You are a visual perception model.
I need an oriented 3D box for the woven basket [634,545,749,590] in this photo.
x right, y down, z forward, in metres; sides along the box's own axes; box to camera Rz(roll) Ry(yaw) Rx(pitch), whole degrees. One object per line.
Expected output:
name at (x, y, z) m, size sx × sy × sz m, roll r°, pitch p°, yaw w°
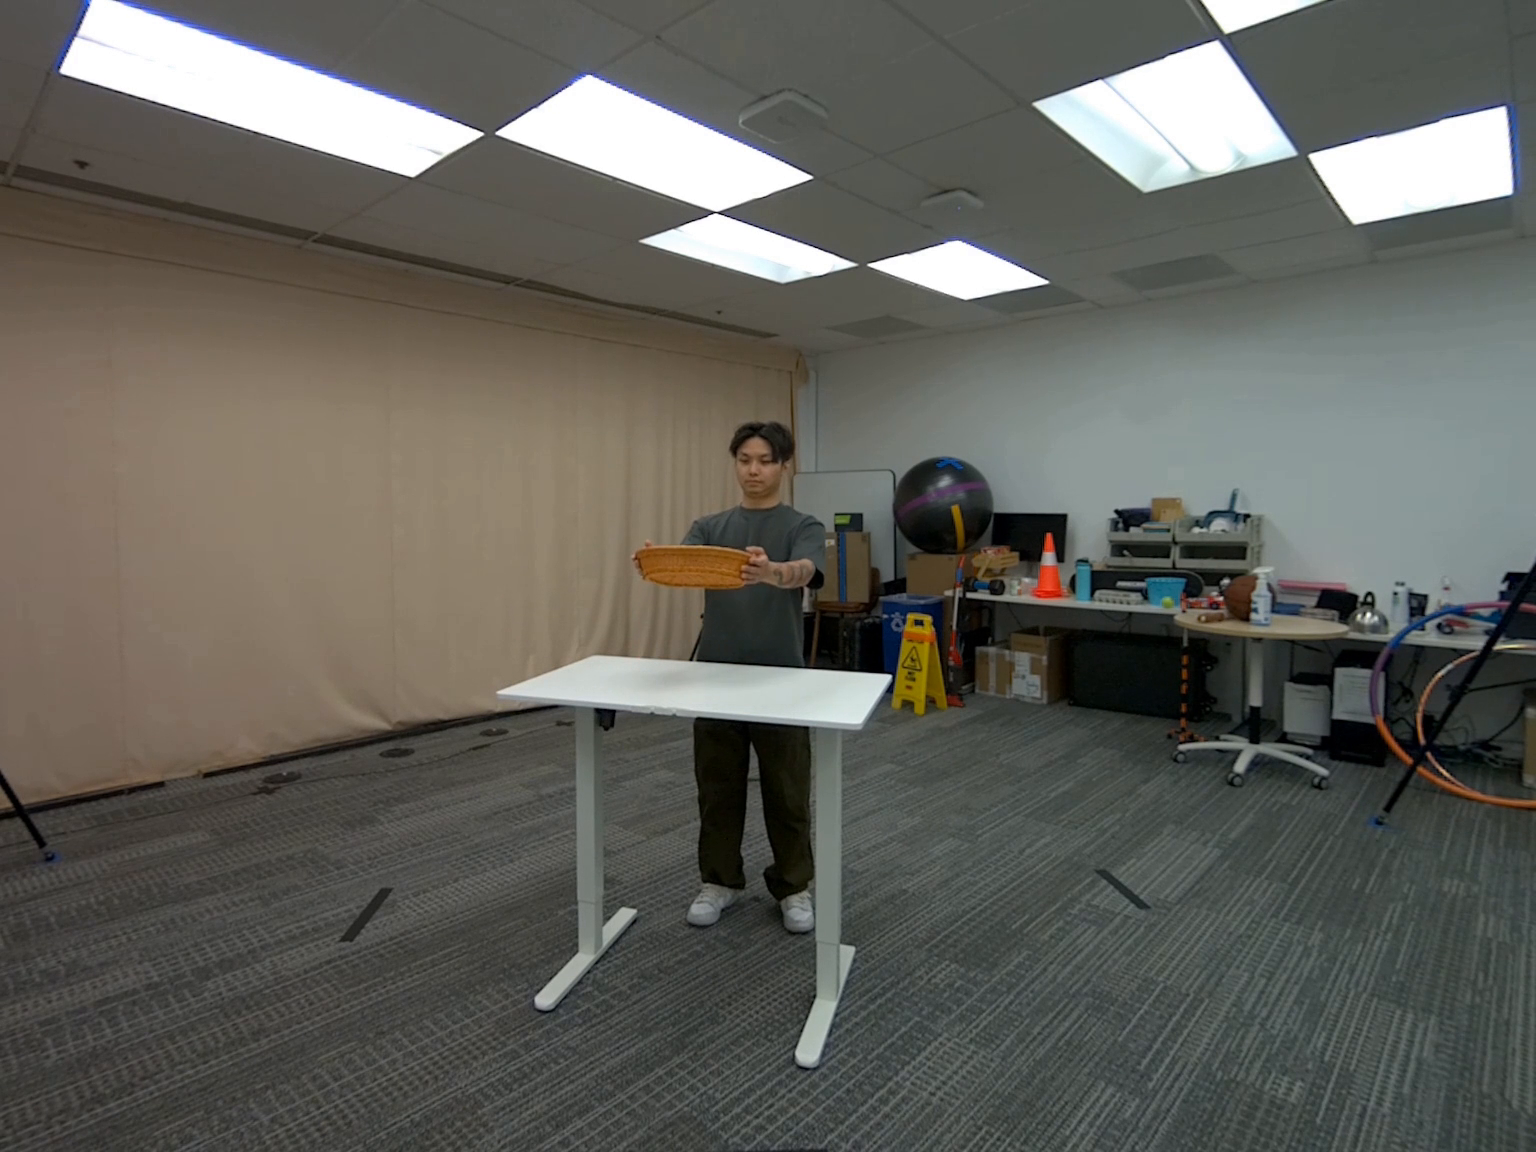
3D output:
woven basket at (-0.185, -0.015, 2.333) m, size 0.360 × 0.074 × 0.244 m, roll 0°, pitch -13°, yaw 27°
